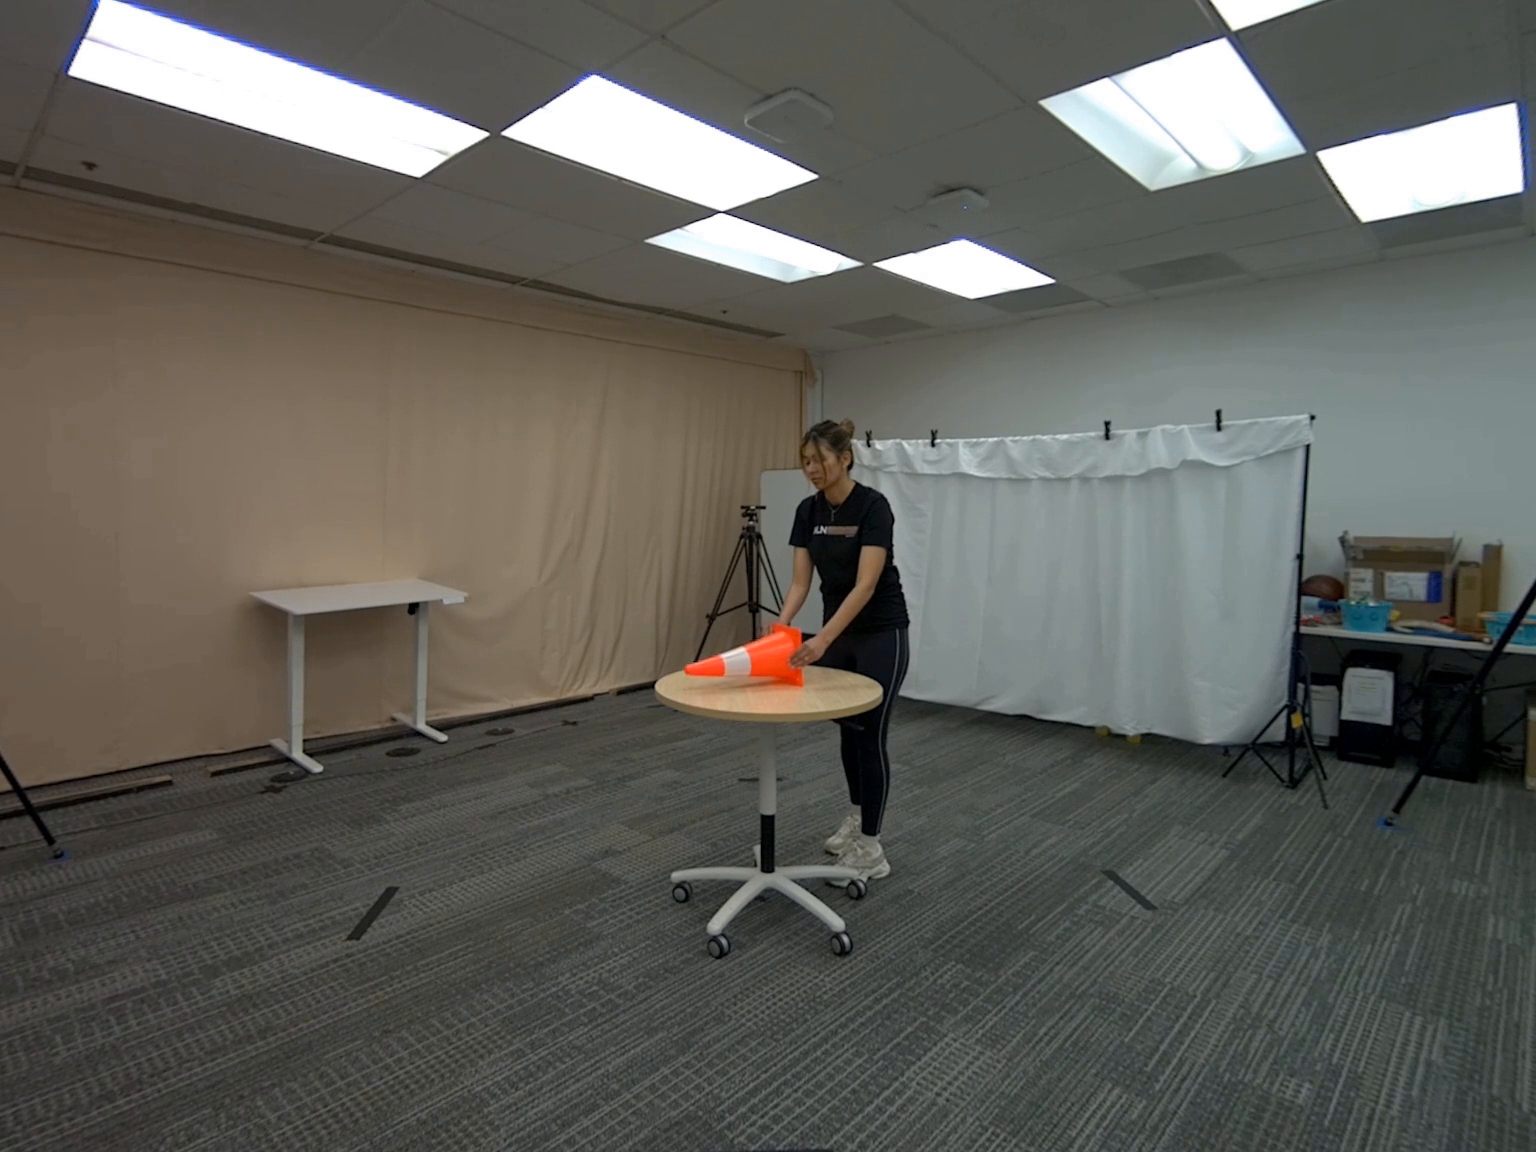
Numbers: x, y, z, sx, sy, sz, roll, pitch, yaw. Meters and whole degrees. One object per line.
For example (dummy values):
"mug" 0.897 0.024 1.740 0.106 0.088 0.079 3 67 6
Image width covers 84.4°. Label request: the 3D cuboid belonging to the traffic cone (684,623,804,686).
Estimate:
"traffic cone" -0.101 0.289 2.817 0.375 0.204 0.209 -6 8 -25
